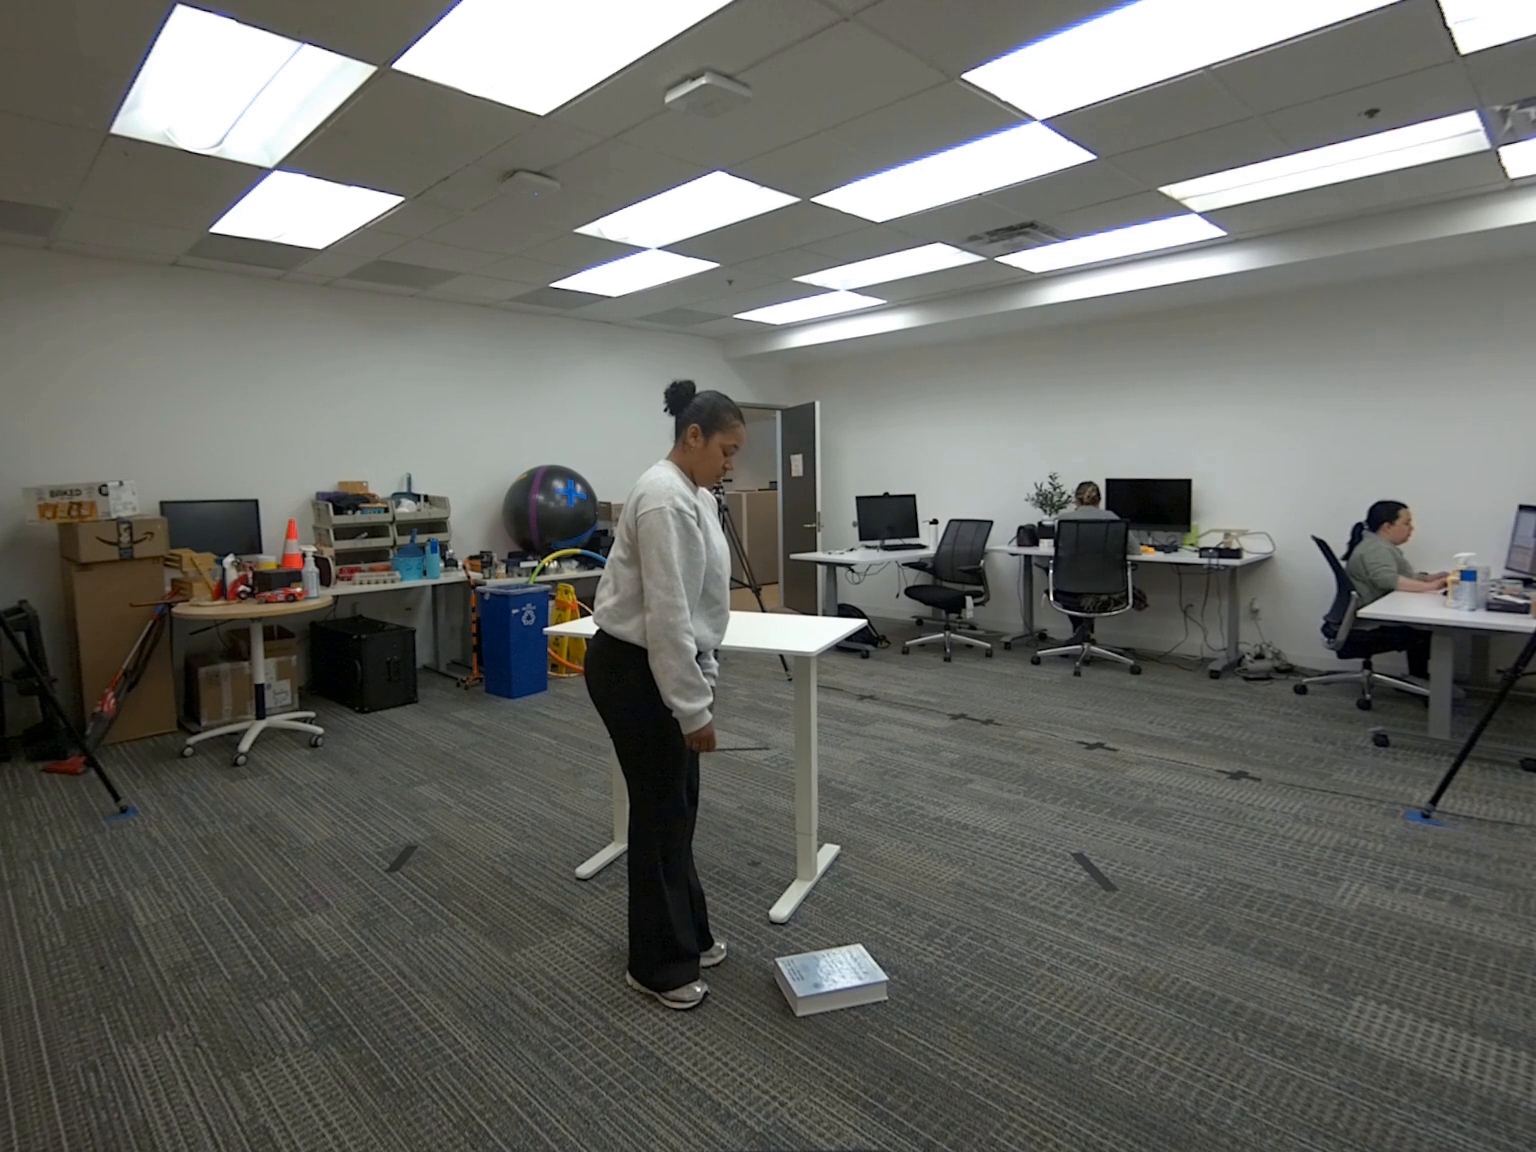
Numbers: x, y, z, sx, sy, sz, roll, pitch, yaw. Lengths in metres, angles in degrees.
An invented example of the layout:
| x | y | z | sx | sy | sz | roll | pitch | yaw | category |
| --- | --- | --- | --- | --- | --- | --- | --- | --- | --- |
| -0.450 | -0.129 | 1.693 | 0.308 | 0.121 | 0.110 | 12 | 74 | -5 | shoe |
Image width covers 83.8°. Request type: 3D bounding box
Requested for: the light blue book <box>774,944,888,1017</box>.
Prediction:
| x | y | z | sx | sy | sz | roll | pitch | yaw | category |
| --- | --- | --- | --- | --- | --- | --- | --- | --- | --- |
| 0.170 | 1.091 | 2.343 | 0.257 | 0.059 | 0.195 | -3 | 7 | -16 | light blue book |
